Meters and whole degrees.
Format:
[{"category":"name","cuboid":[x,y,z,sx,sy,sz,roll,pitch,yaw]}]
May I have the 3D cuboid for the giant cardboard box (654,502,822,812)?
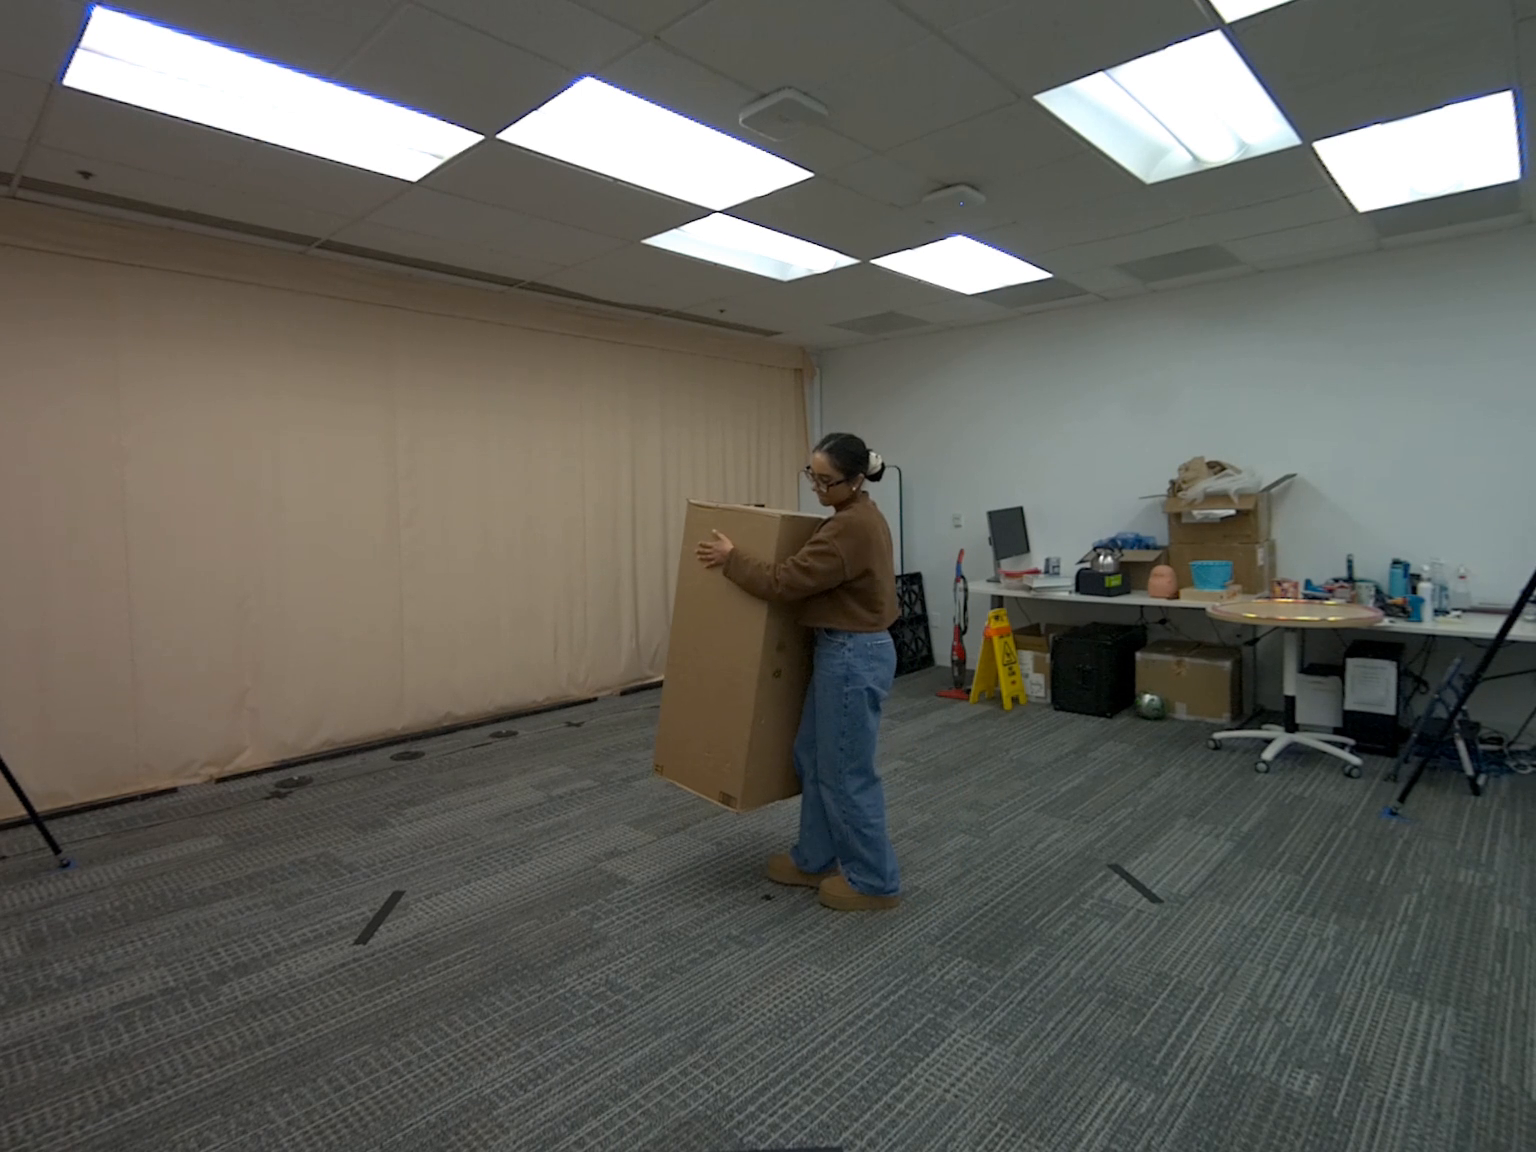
[{"category":"giant cardboard box","cuboid":[-0.029,0.272,3.157,0.441,1.023,0.559,11,6,38]}]
